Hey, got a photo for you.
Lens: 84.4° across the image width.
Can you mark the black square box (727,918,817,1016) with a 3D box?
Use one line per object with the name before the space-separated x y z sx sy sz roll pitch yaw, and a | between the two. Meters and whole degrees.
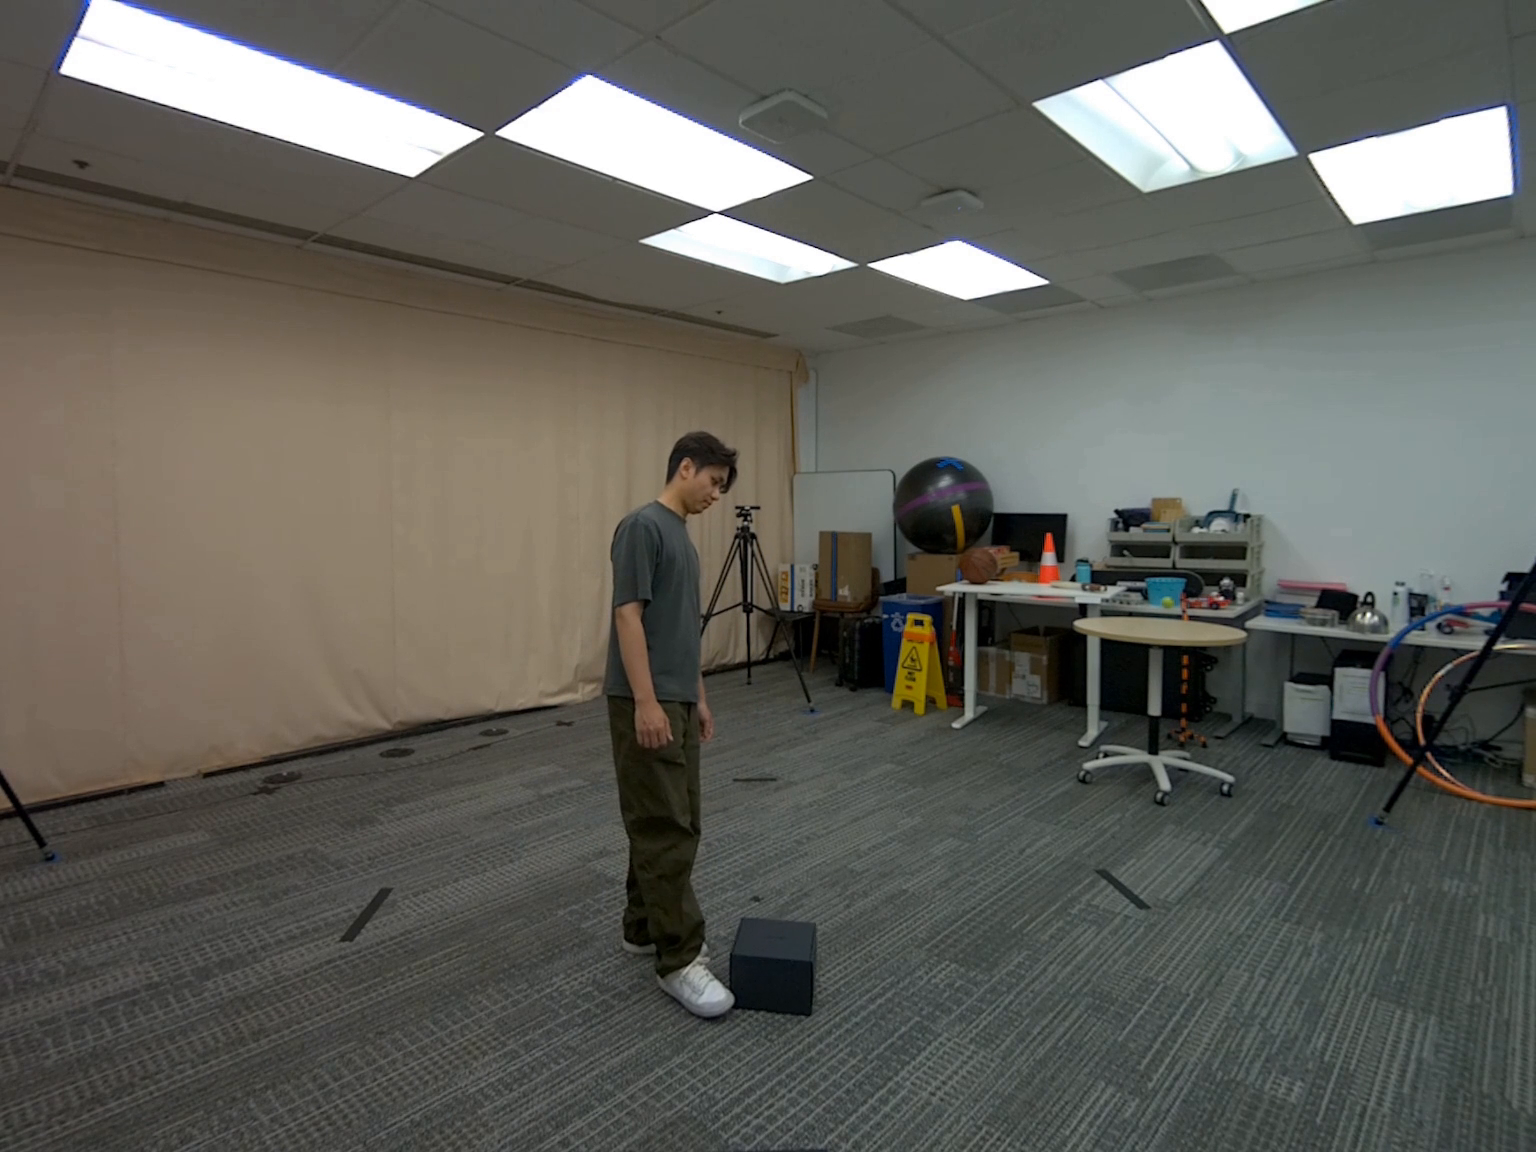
black square box | 0.026 1.112 2.407 0.230 0.155 0.215 1 3 8
